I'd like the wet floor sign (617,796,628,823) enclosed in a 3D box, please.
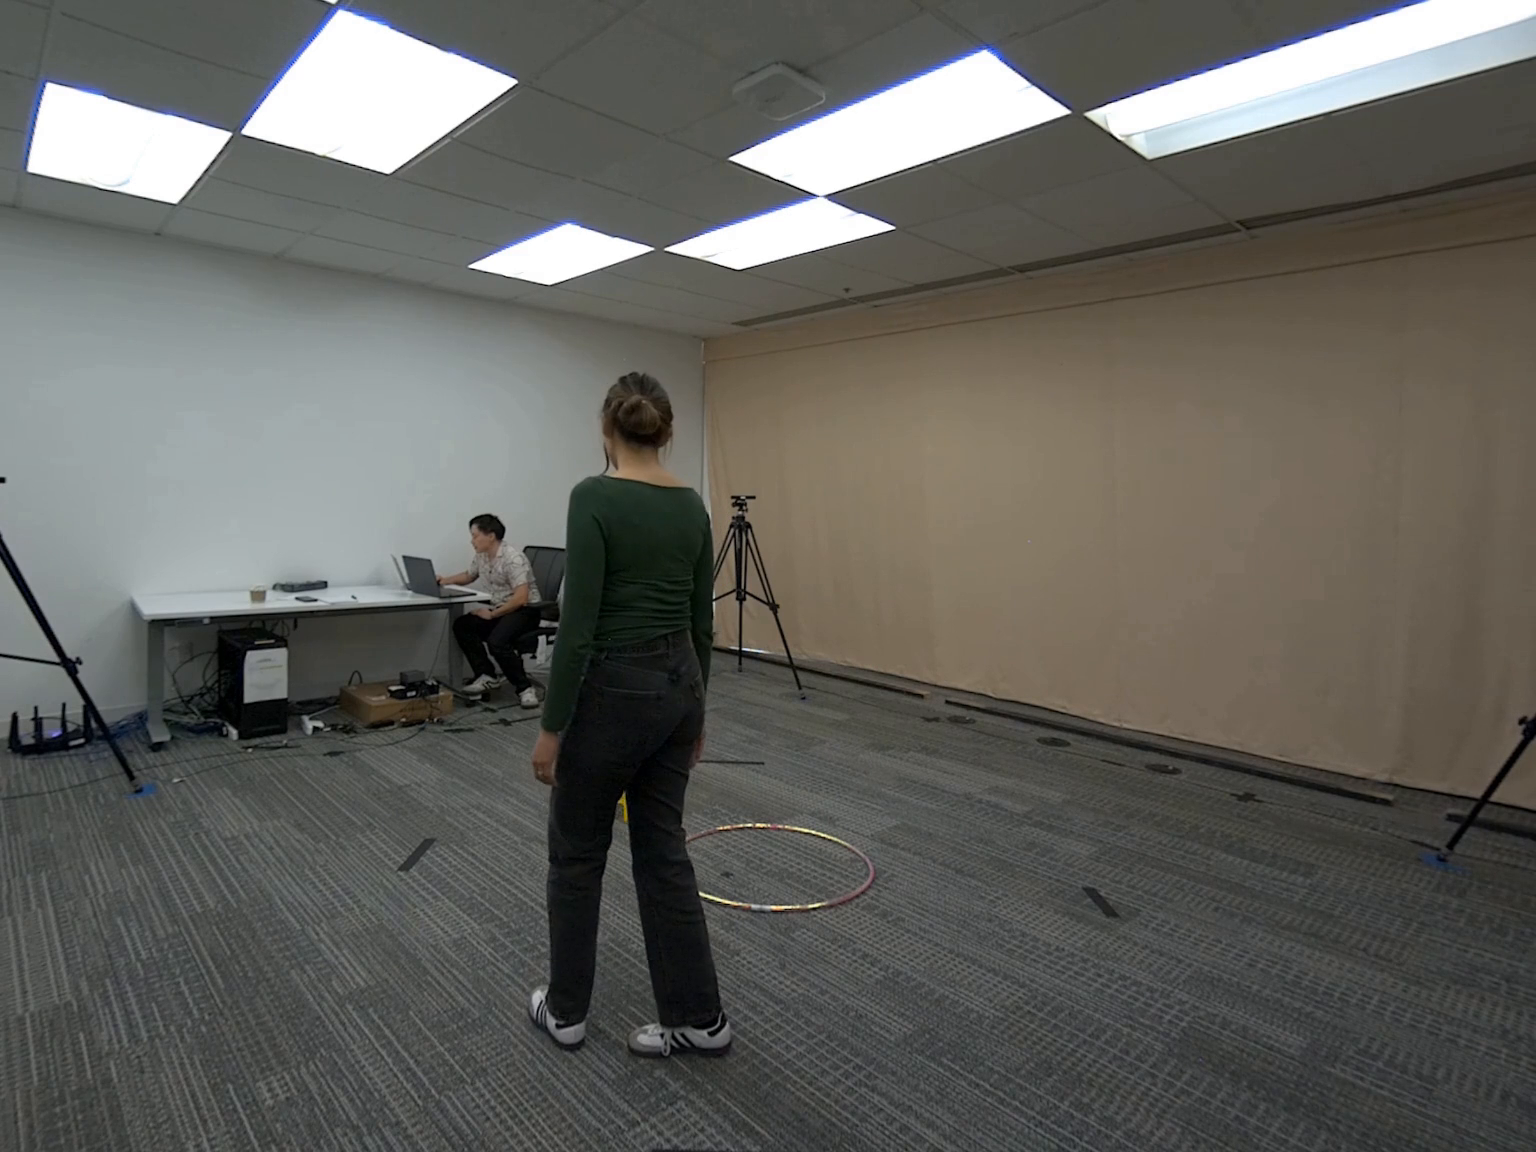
[{"bbox_3d":[-0.651,0.714,3.718,0.284,0.644,0.288,3,3,8],"label":"wet floor sign"}]
